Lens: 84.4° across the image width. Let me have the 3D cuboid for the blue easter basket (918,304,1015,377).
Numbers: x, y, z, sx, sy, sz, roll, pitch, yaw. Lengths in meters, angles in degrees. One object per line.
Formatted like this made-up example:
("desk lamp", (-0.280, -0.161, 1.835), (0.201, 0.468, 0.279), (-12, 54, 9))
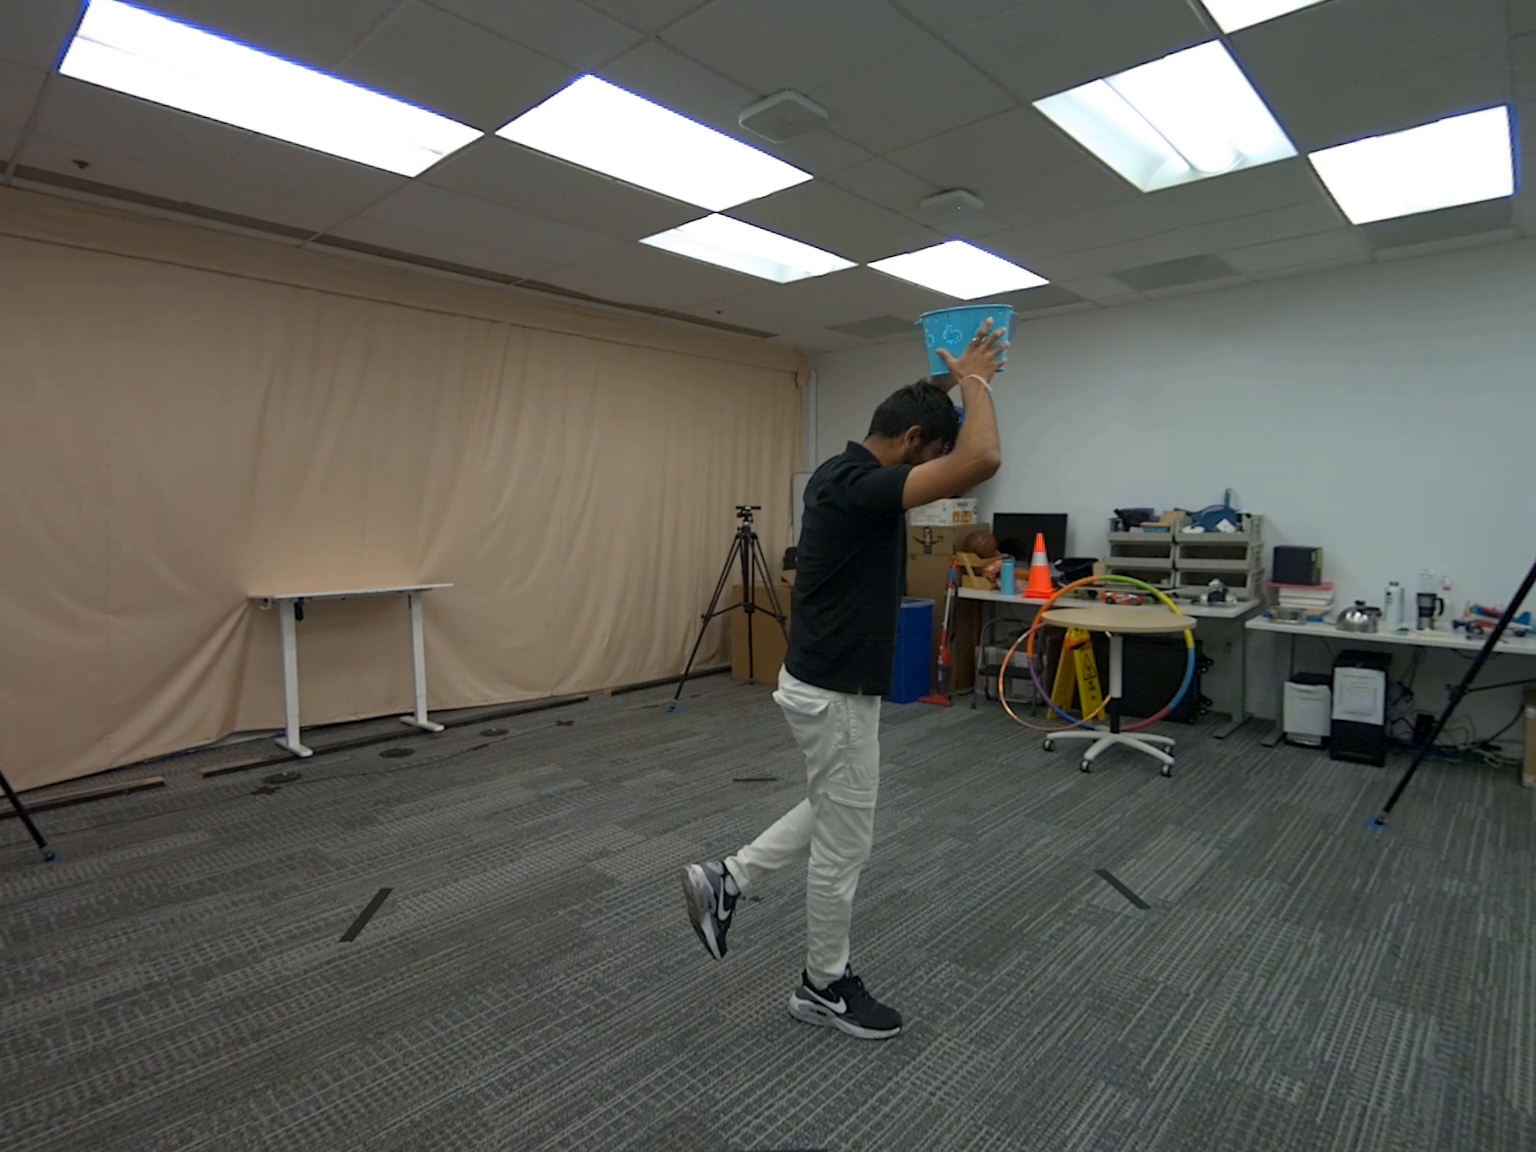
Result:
("blue easter basket", (0.523, -0.598, 2.137), (0.243, 0.155, 0.245), (-3, 6, -2))
